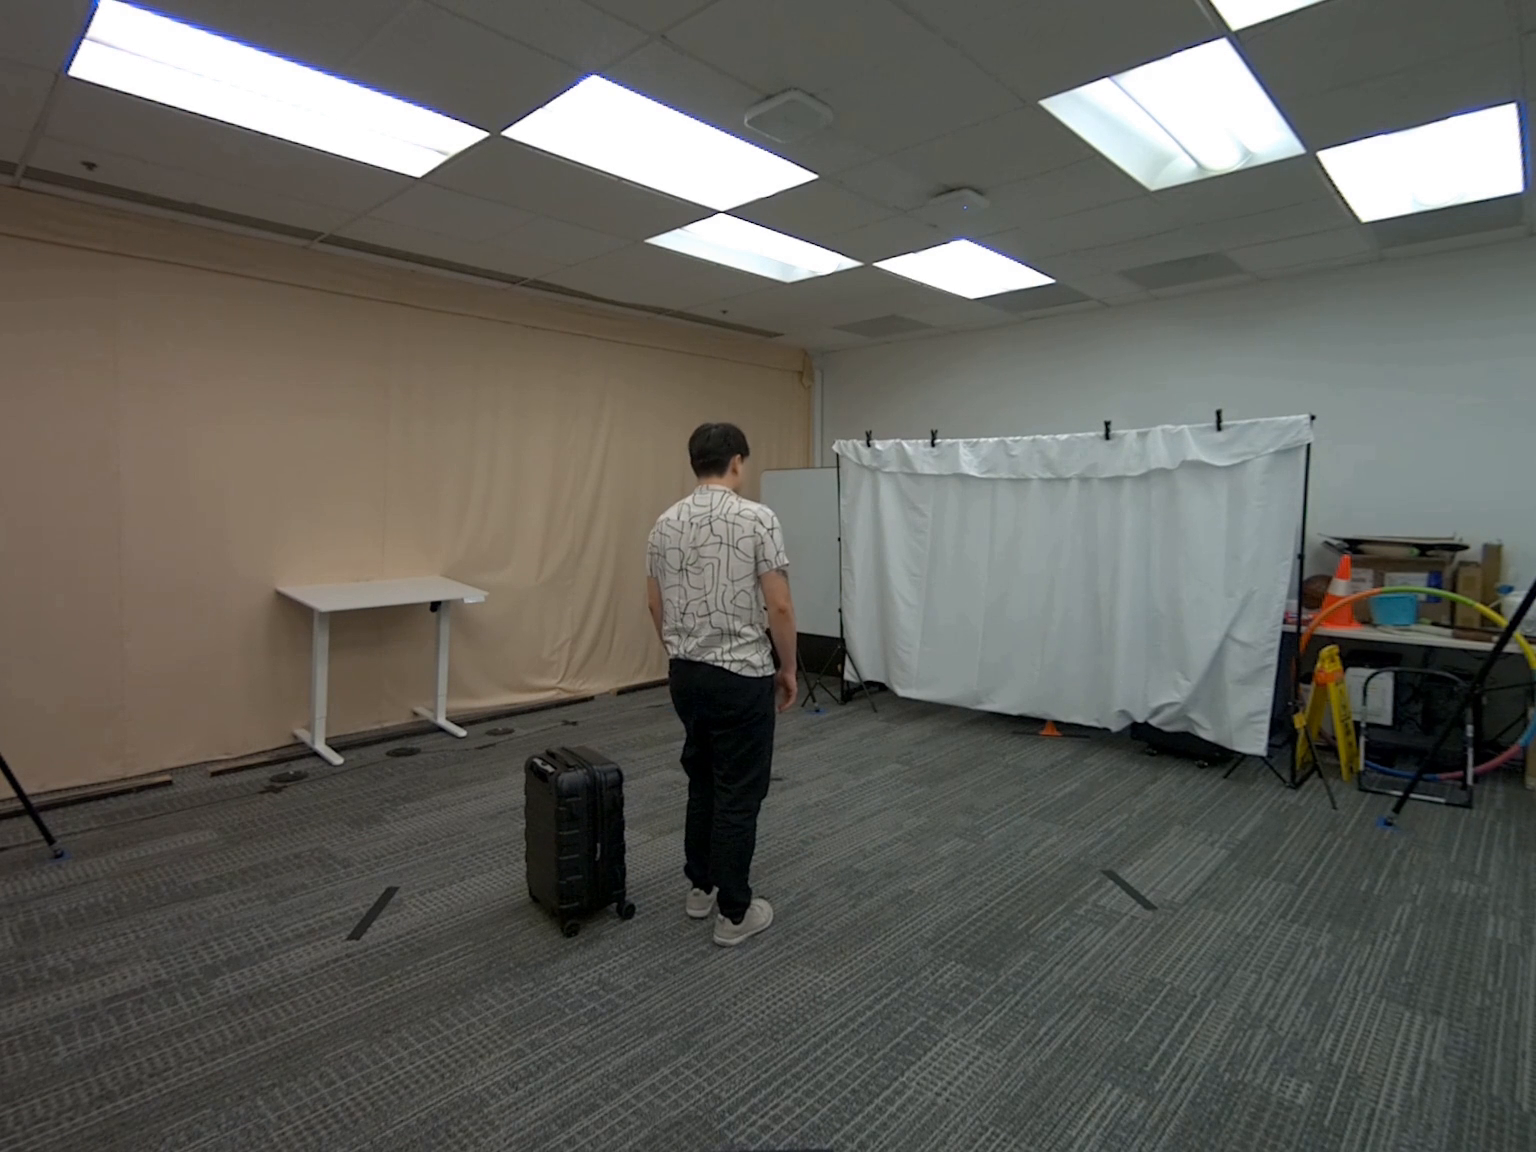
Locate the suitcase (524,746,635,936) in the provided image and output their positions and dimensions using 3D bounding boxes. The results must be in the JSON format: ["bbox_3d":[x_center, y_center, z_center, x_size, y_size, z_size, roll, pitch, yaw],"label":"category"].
[{"bbox_3d":[-0.667,0.881,2.899,0.241,0.548,0.387,-4,4,-34],"label":"suitcase"}]
